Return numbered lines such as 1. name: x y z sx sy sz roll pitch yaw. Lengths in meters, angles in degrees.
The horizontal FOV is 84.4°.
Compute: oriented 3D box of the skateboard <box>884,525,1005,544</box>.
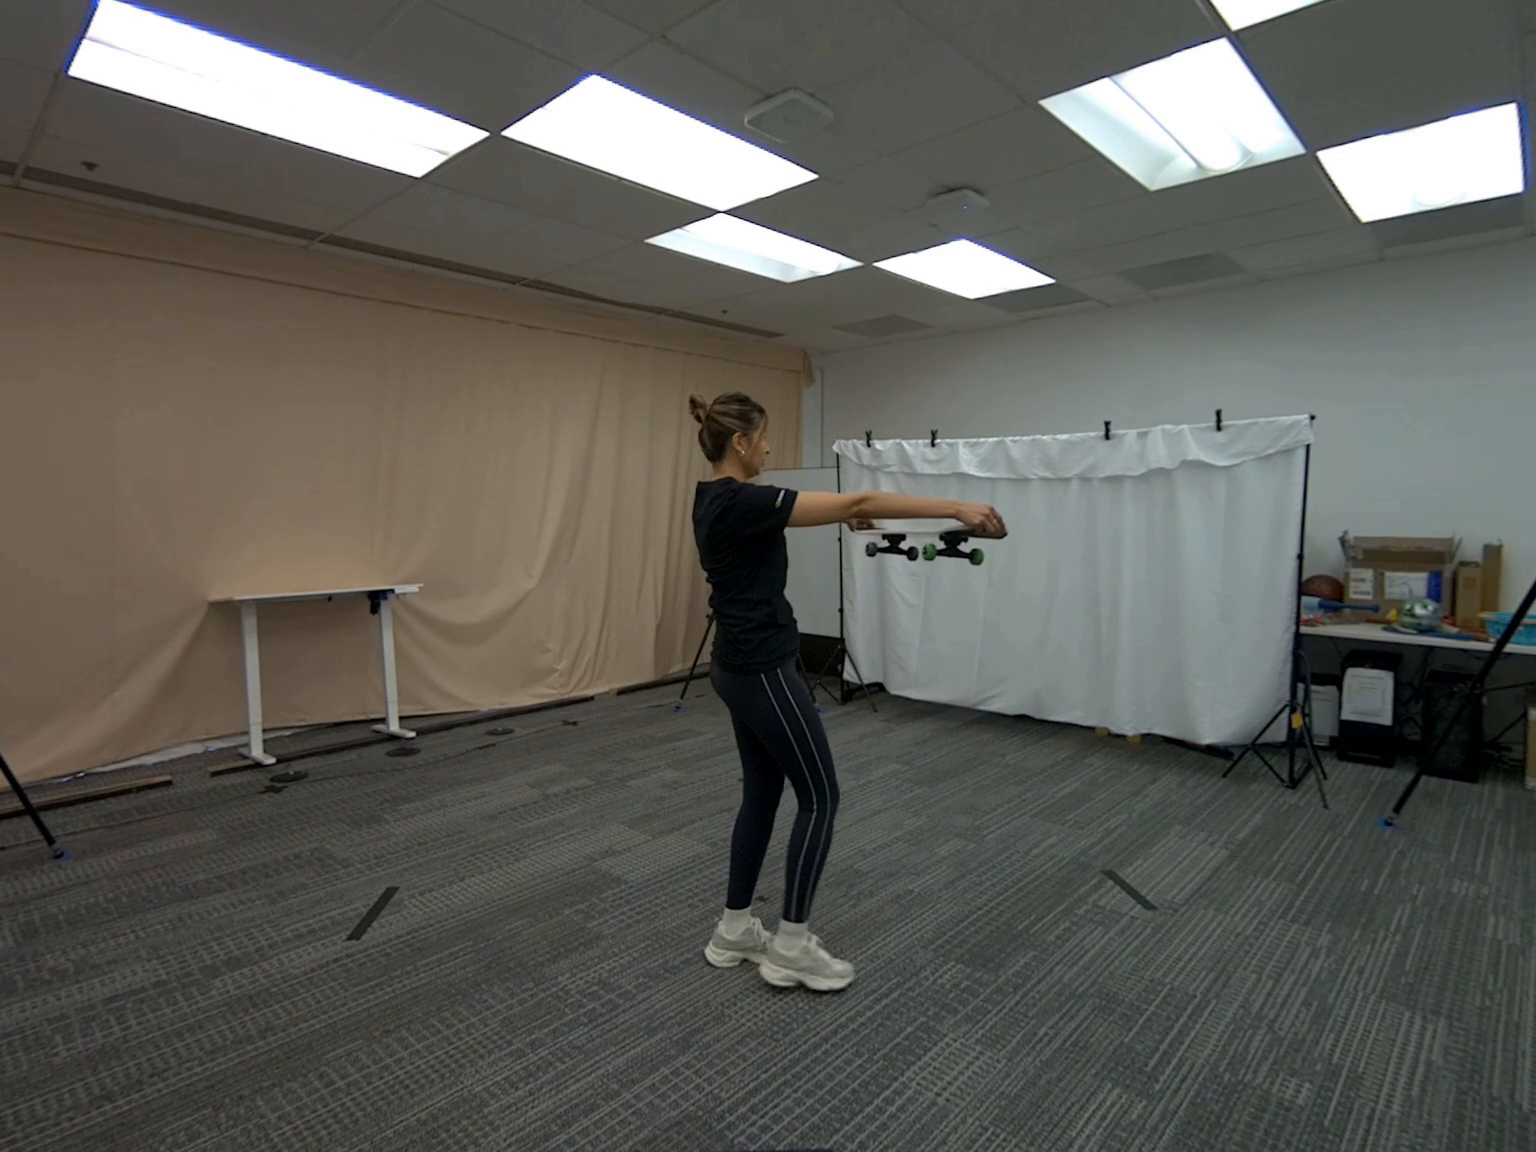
1. skateboard: 0.505 -0.102 2.629 0.190 0.110 0.799 8 1 -17
